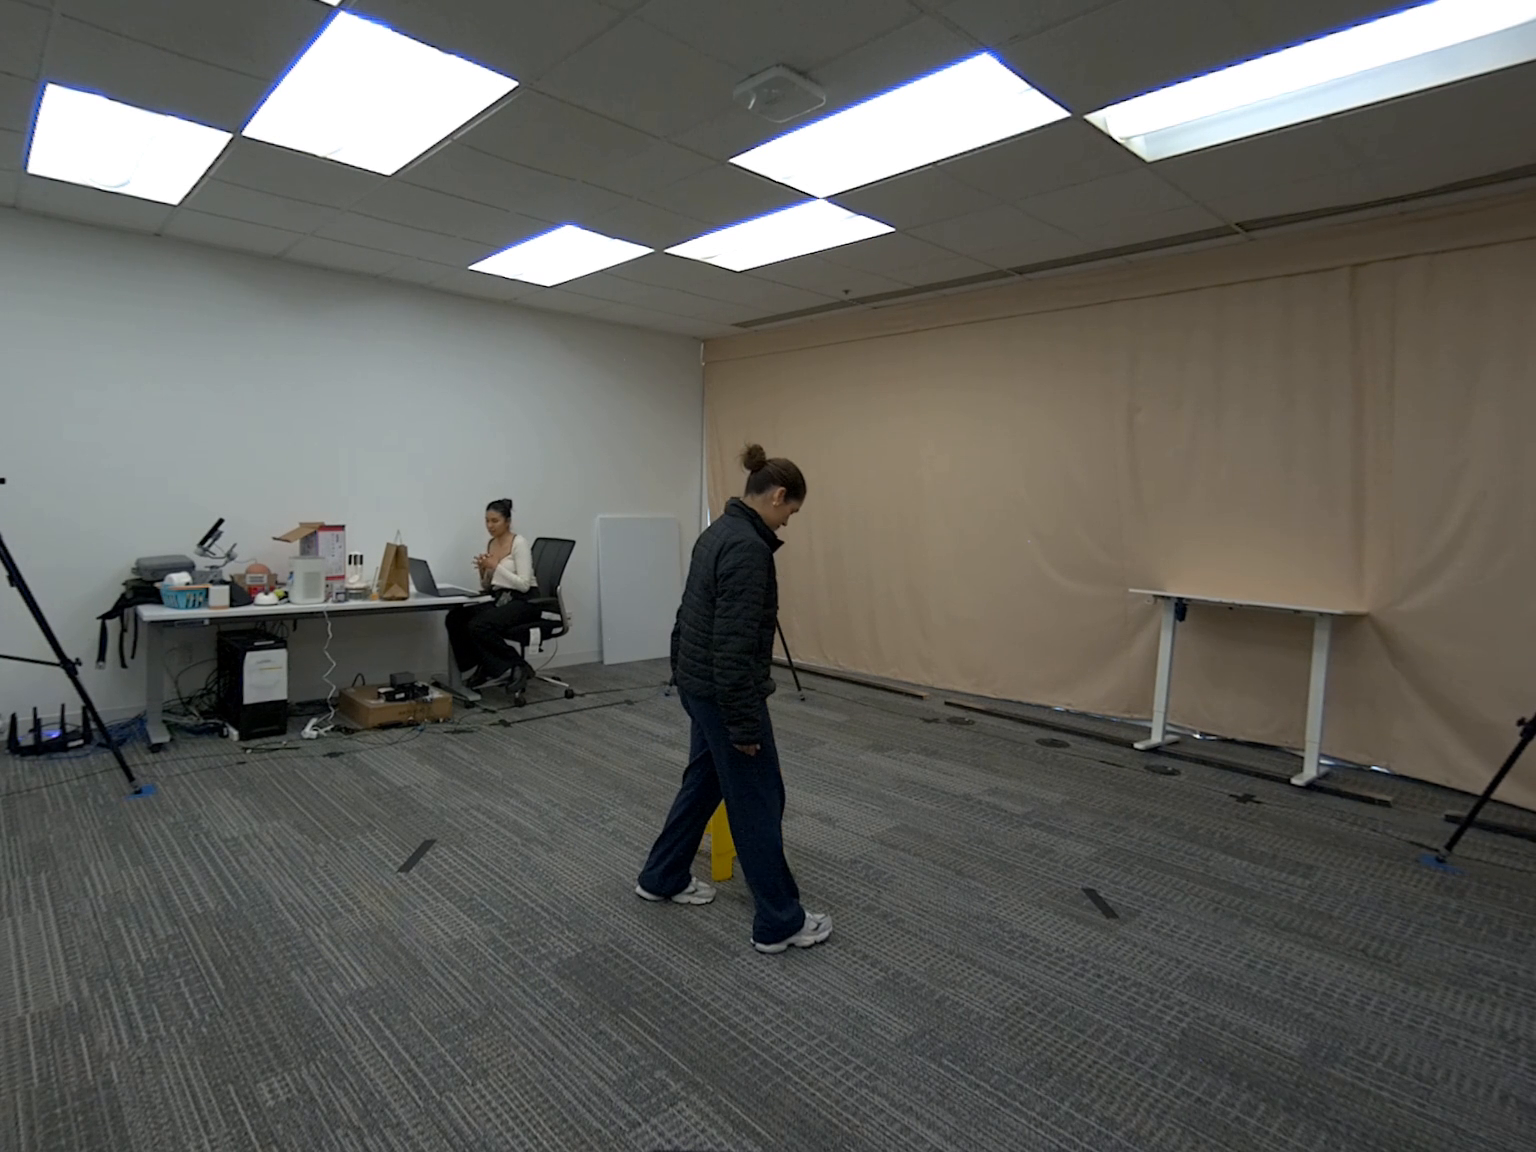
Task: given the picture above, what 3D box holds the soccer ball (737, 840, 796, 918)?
[{"bbox_3d":[-0.010,1.043,2.928,0.187,0.187,0.188,1,4,-1],"label":"soccer ball"}]
